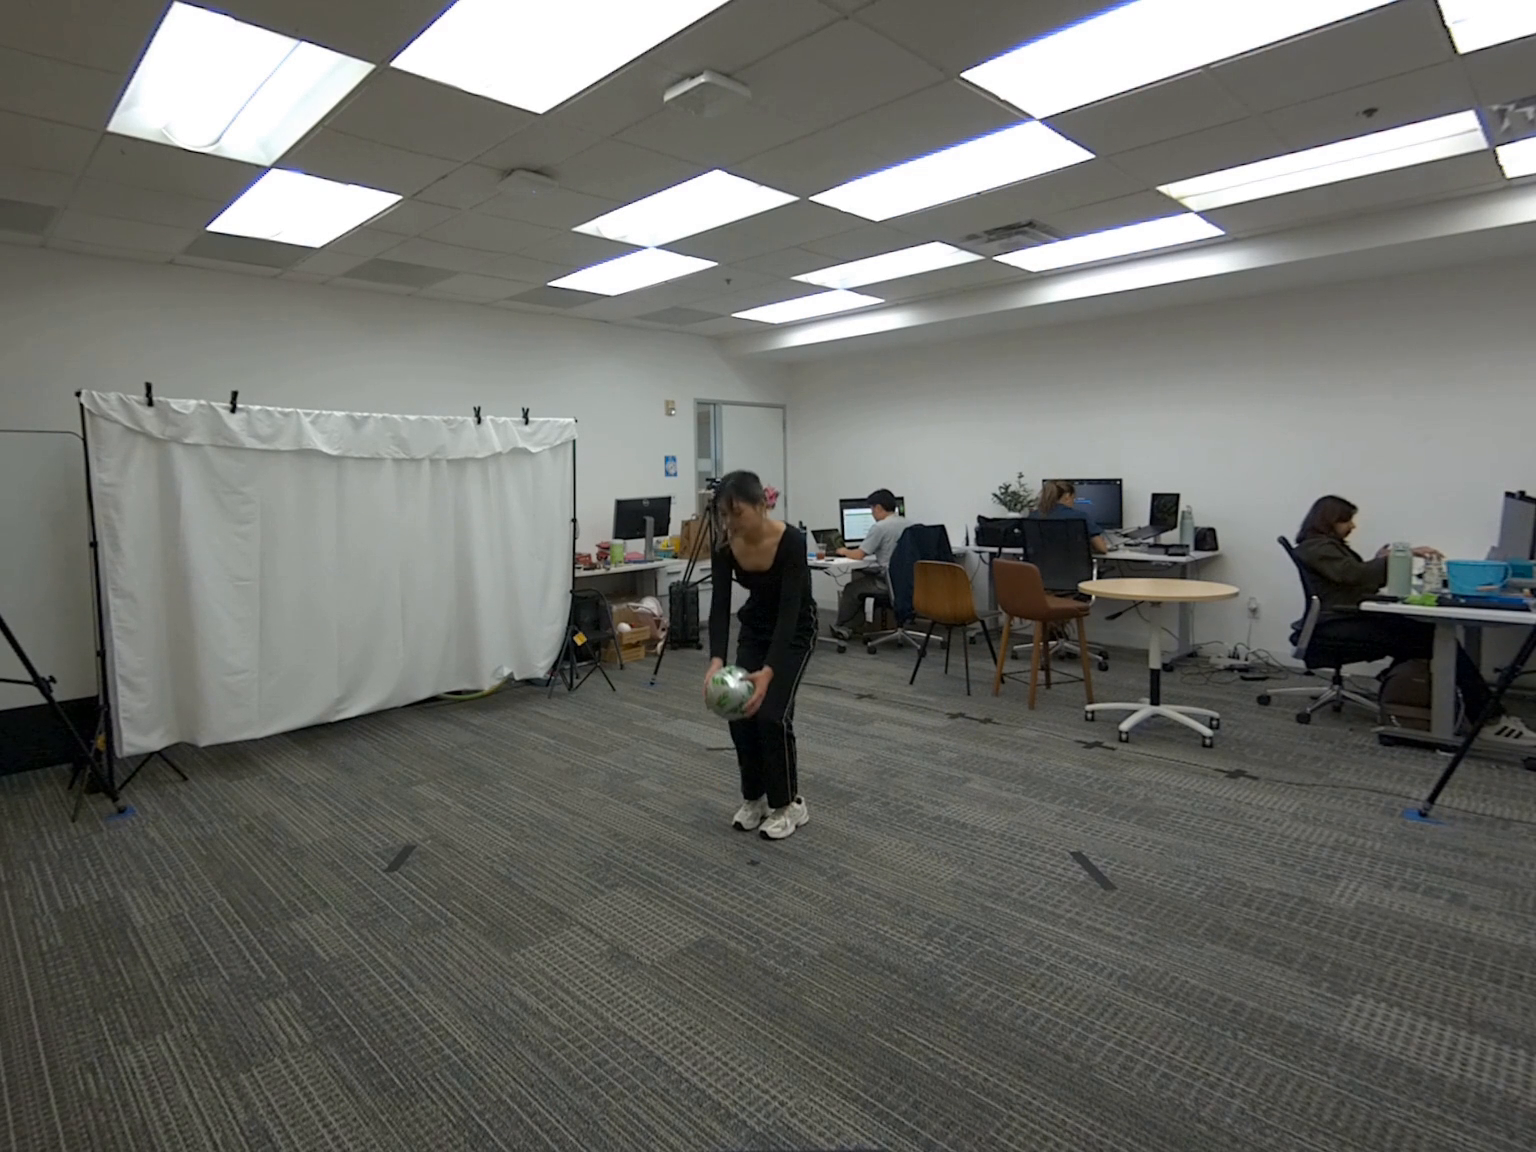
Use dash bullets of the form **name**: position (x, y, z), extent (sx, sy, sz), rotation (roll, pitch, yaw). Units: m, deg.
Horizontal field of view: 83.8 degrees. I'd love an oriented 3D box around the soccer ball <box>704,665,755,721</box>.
- **soccer ball**: position (-0.120, 0.443, 3.015), extent (0.187, 0.187, 0.188), rotation (-1, 5, -2)
